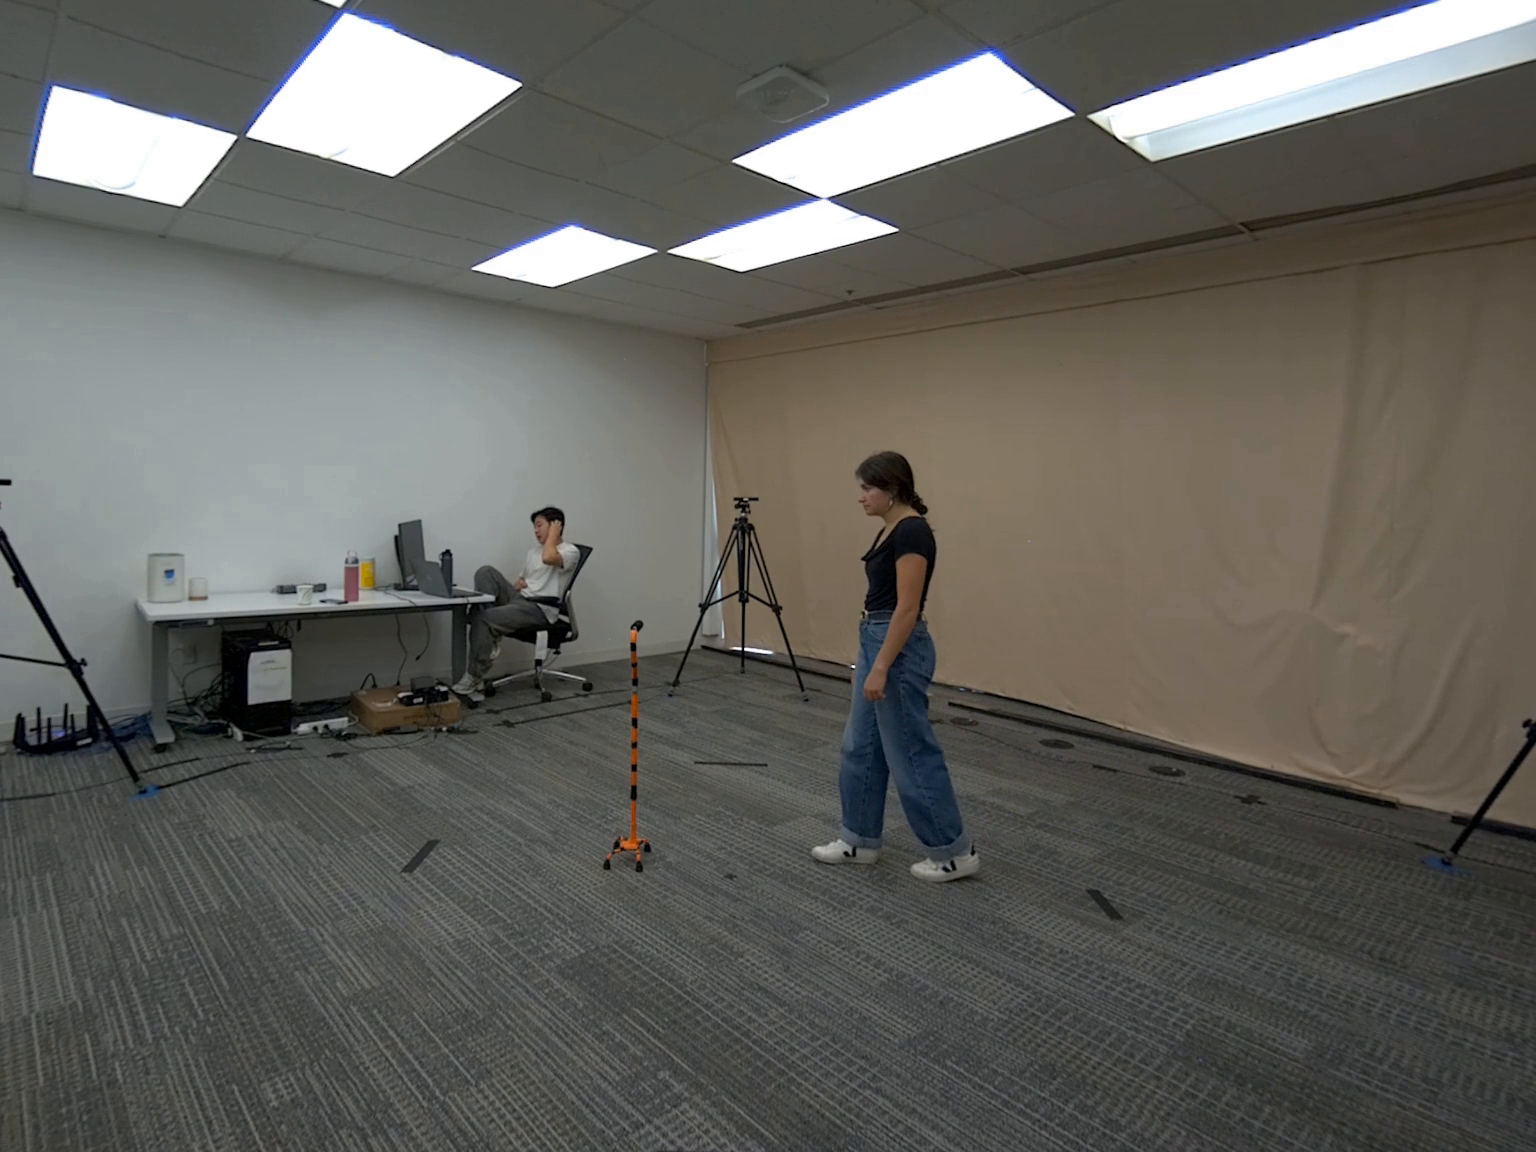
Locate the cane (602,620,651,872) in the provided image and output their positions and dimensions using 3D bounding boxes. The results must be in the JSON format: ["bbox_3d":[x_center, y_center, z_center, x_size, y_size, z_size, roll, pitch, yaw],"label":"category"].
[{"bbox_3d":[-0.529,0.633,3.207,0.152,0.906,0.206,2,3,2],"label":"cane"}]
